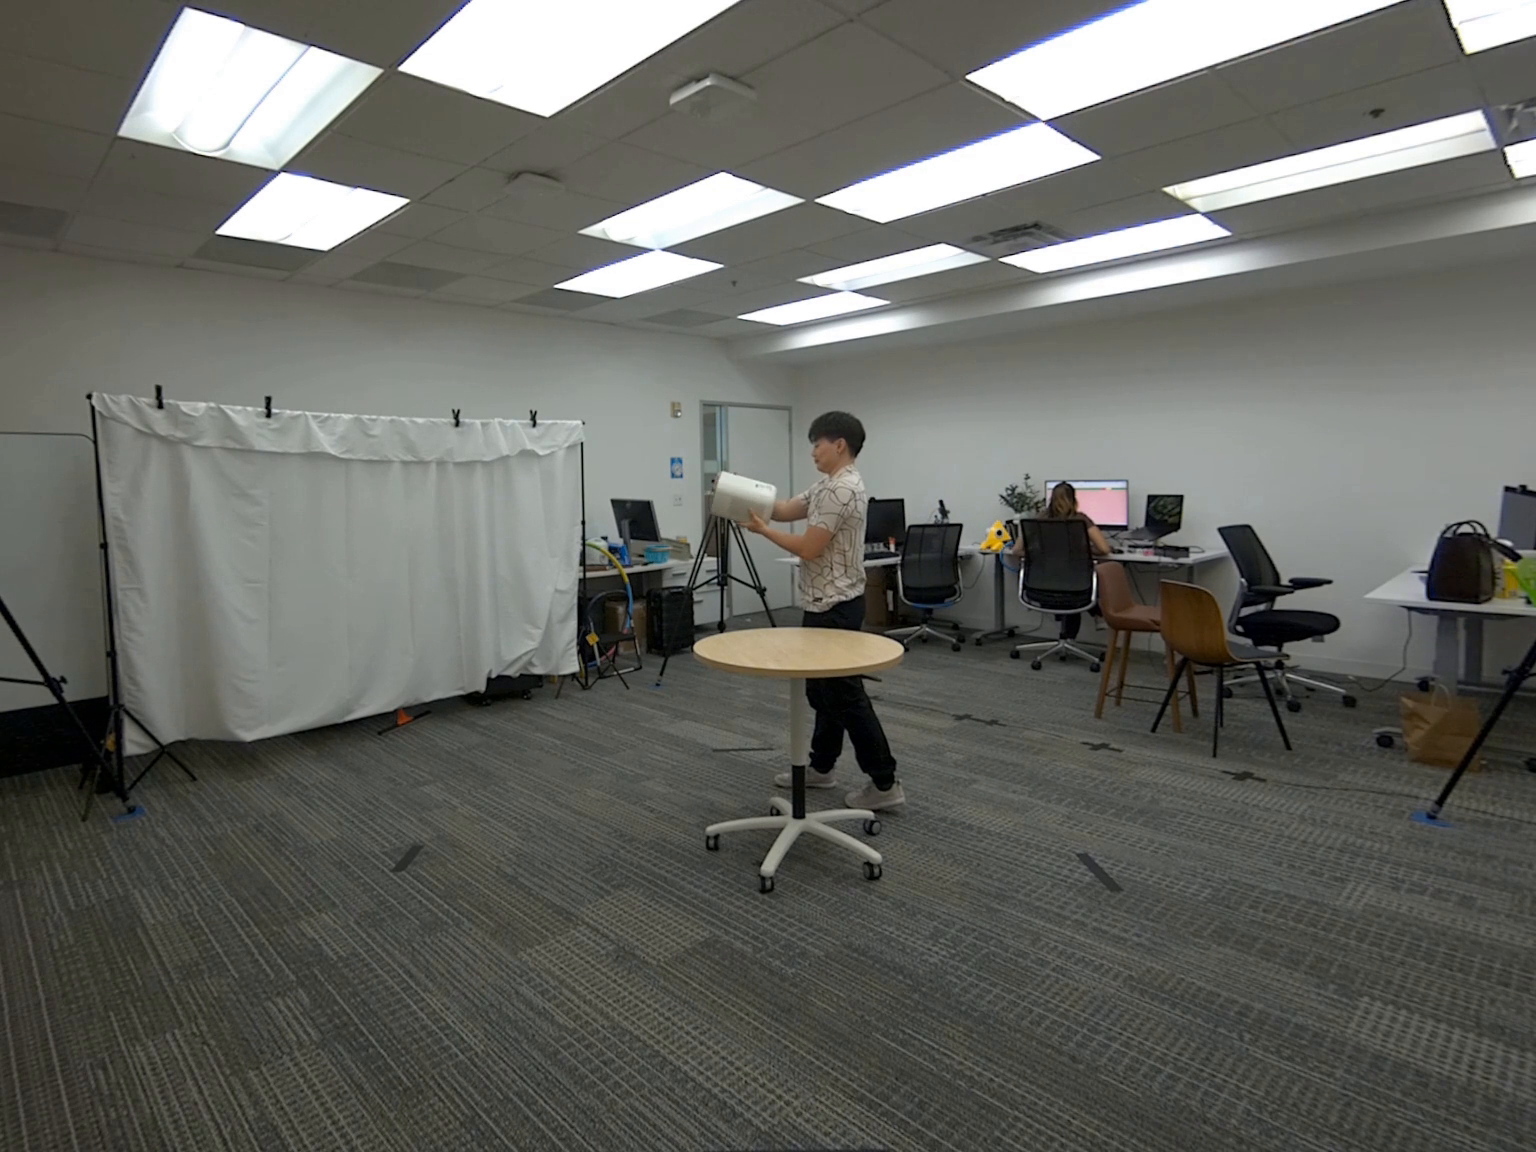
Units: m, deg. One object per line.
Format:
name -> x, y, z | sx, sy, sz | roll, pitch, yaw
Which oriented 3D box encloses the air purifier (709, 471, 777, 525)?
air purifier -> -0.101, -0.341, 3.772 | 0.266, 0.168, 0.174 | 13, 33, 0
